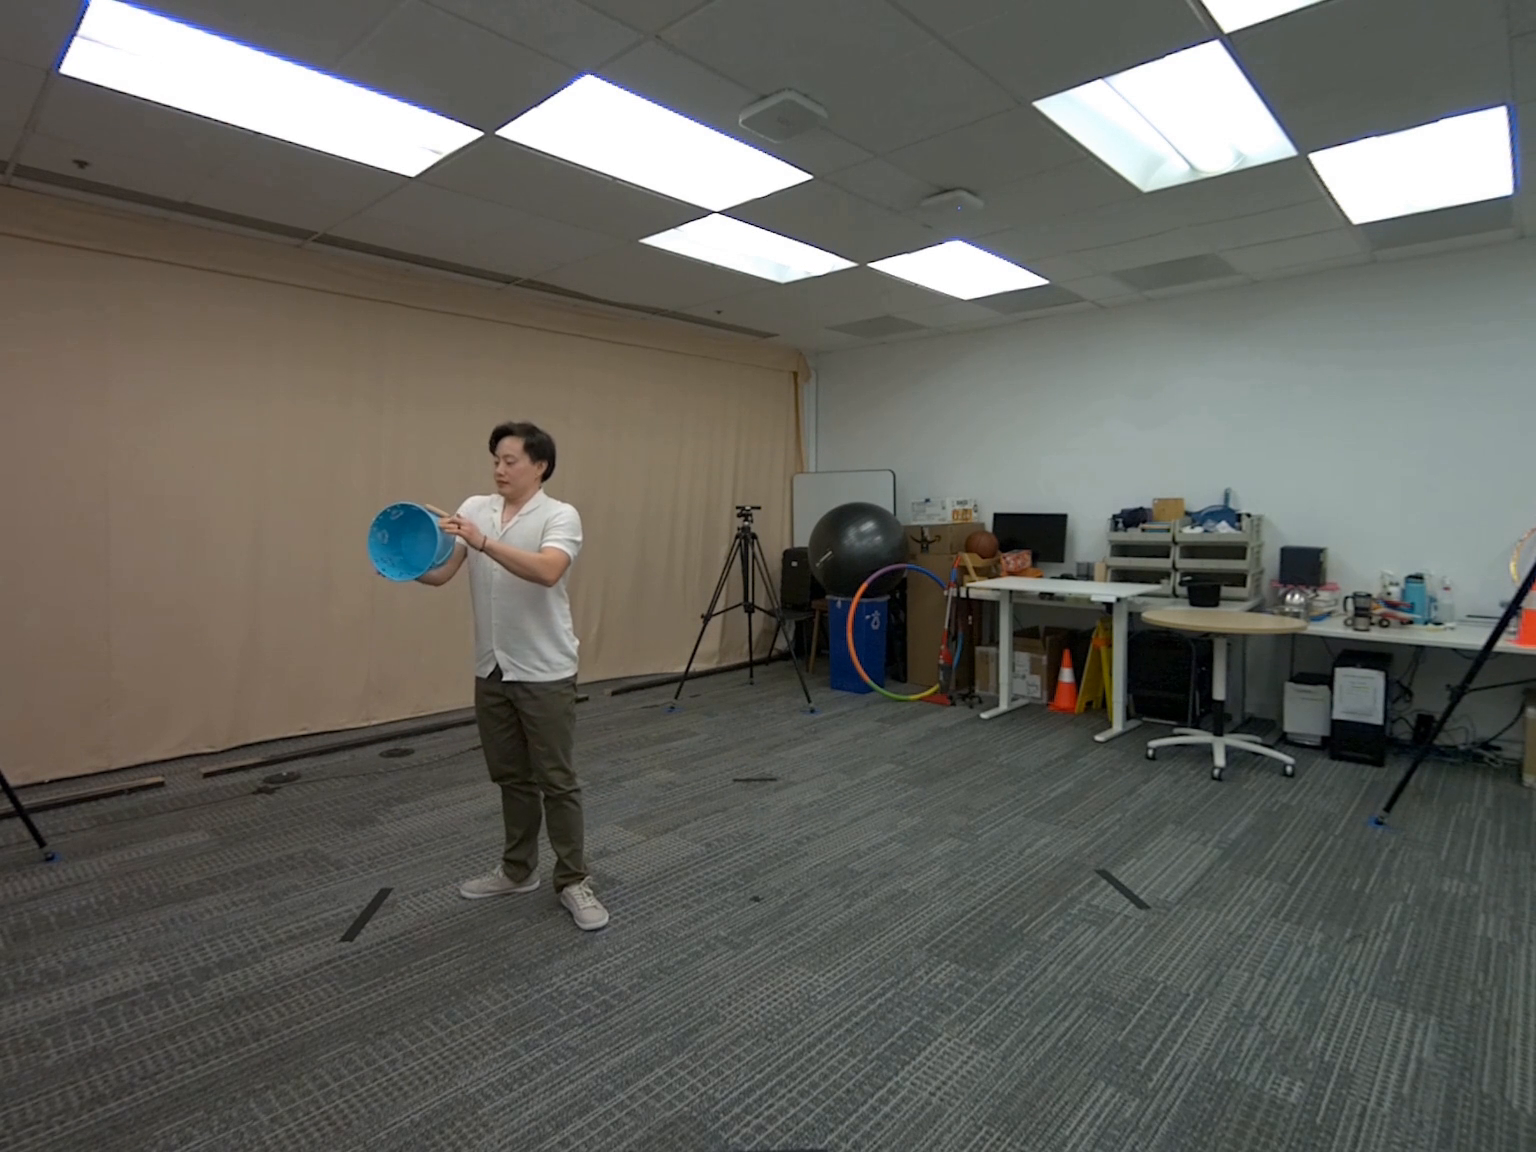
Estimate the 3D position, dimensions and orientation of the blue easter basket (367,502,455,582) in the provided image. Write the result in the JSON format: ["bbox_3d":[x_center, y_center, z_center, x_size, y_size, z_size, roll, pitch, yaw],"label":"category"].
[{"bbox_3d":[-1.070,-0.102,2.568,0.246,0.243,0.154,0,0,8],"label":"blue easter basket"}]
